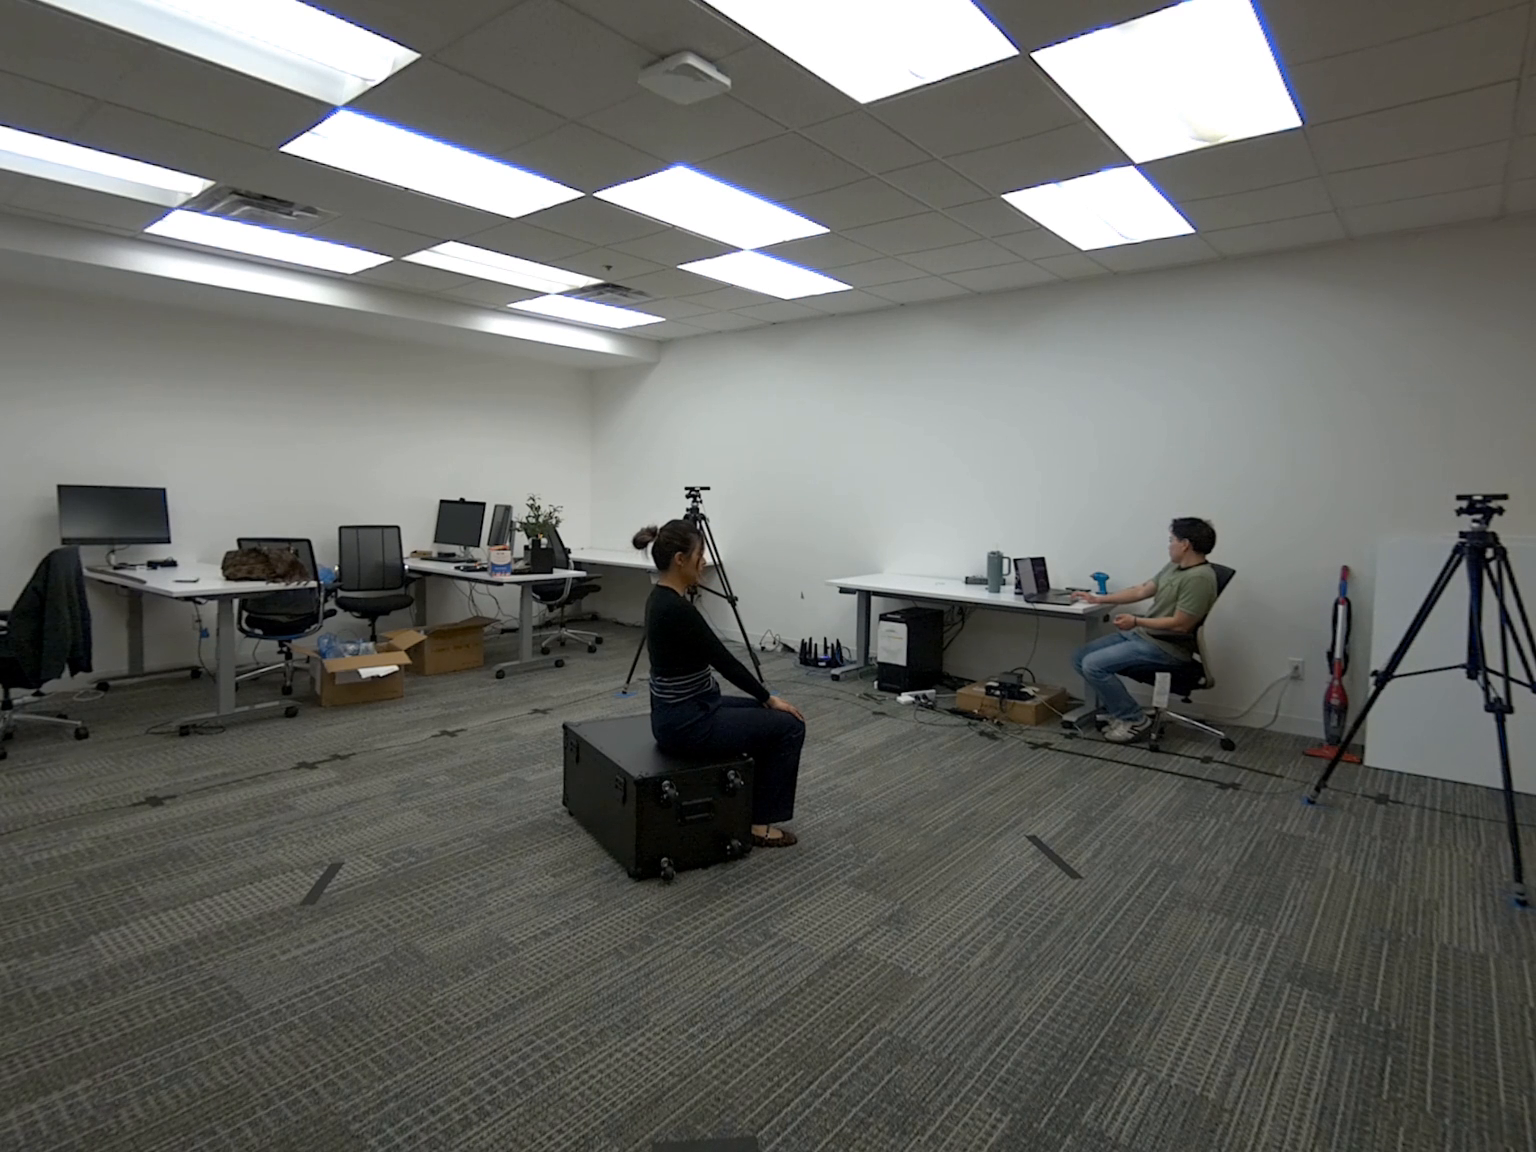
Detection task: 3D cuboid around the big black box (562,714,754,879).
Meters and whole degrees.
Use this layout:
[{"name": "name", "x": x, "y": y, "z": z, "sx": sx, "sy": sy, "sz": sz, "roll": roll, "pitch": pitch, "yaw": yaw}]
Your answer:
[{"name": "big black box", "x": -0.496, "y": 0.838, "z": 3.440, "sx": 0.507, "sy": 0.395, "sz": 0.889, "roll": -2, "pitch": 6, "yaw": -32}]
